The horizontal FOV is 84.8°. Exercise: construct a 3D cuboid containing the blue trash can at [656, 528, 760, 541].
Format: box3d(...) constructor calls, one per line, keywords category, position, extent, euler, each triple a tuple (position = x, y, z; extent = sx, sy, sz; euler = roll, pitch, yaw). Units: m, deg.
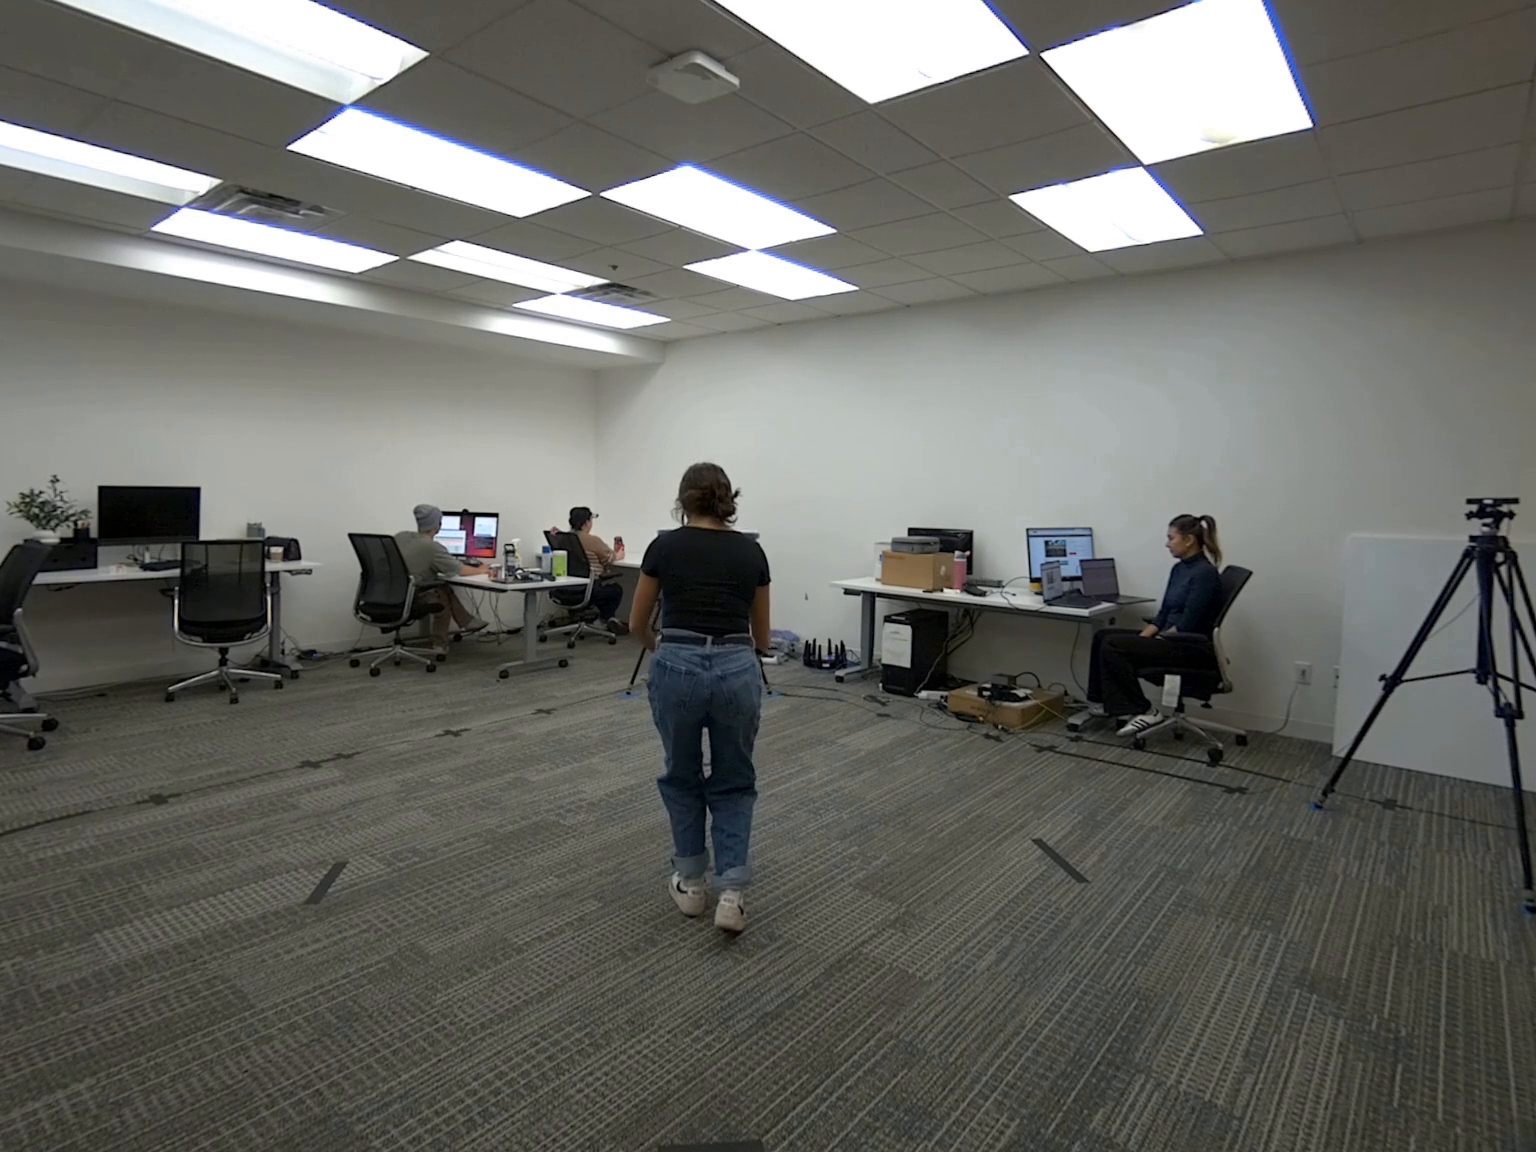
box3d(category="blue trash can", position=(-0.245, 0.184, 3.206), extent=(0.374, 0.713, 0.378), euler=(3, 1, -1))
